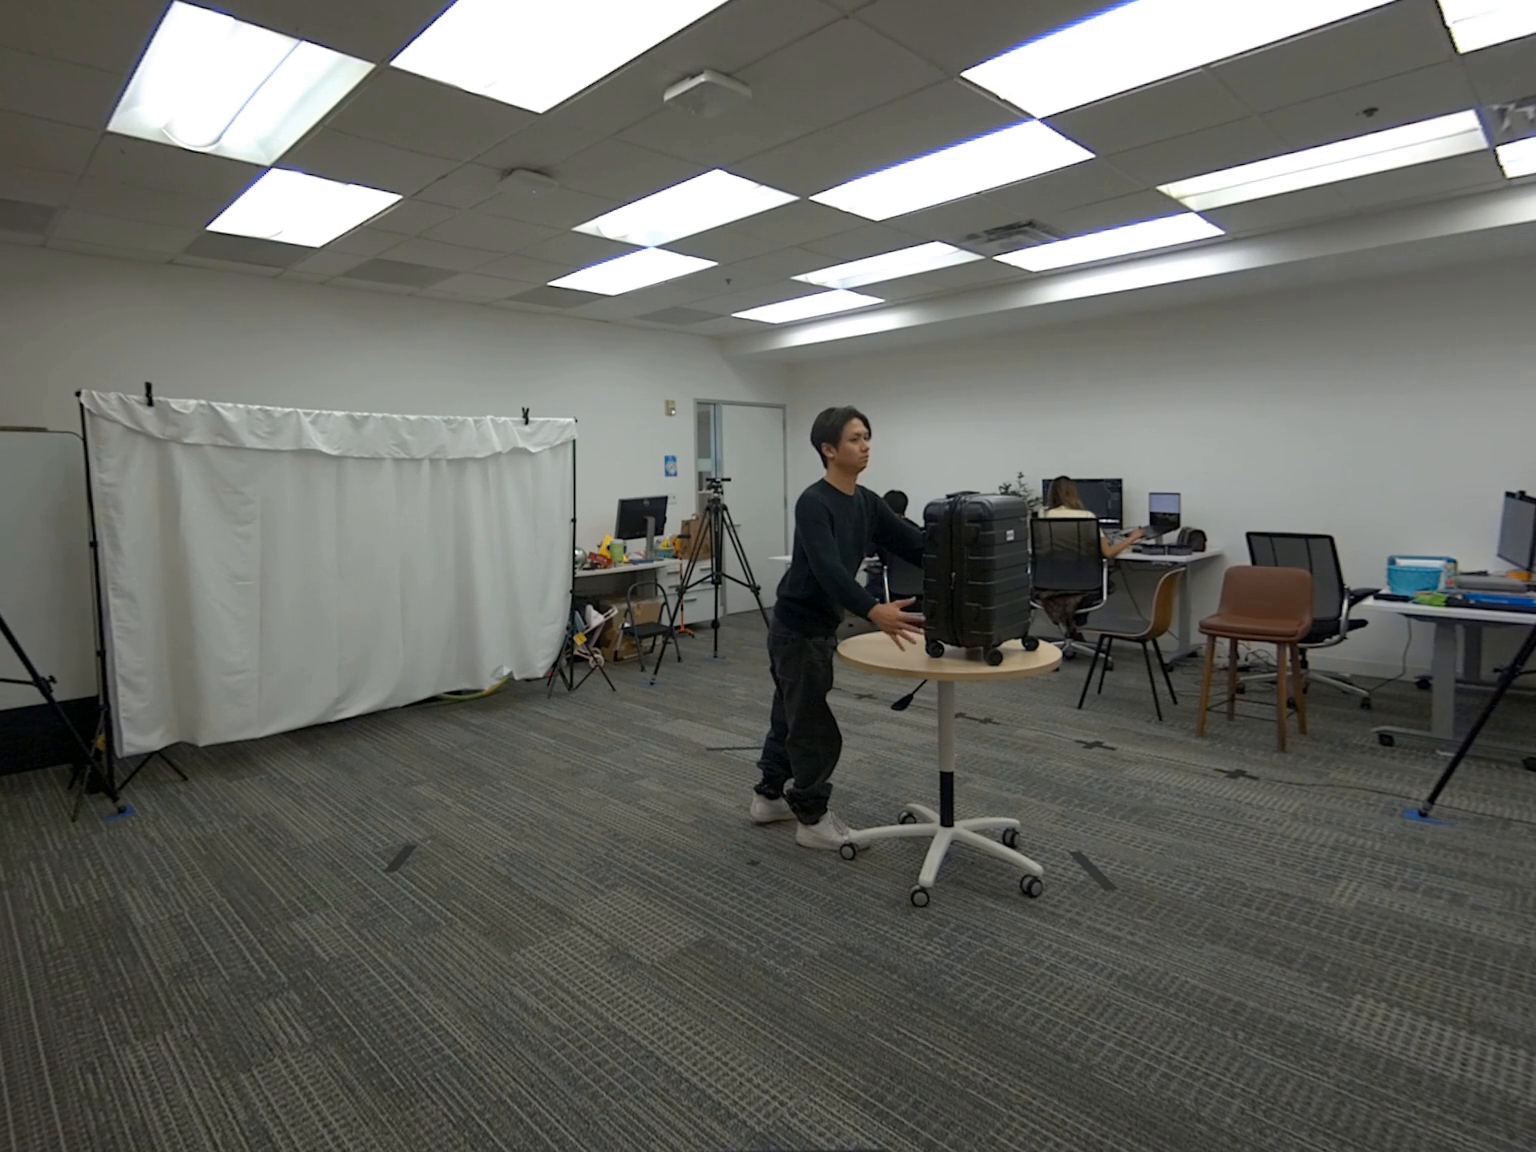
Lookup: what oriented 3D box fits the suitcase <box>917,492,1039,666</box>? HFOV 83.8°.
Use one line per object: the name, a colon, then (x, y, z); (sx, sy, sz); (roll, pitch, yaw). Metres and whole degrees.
suitcase: (0.719, -0.011, 2.901); (0.256, 0.547, 0.366); (2, 6, 42)
